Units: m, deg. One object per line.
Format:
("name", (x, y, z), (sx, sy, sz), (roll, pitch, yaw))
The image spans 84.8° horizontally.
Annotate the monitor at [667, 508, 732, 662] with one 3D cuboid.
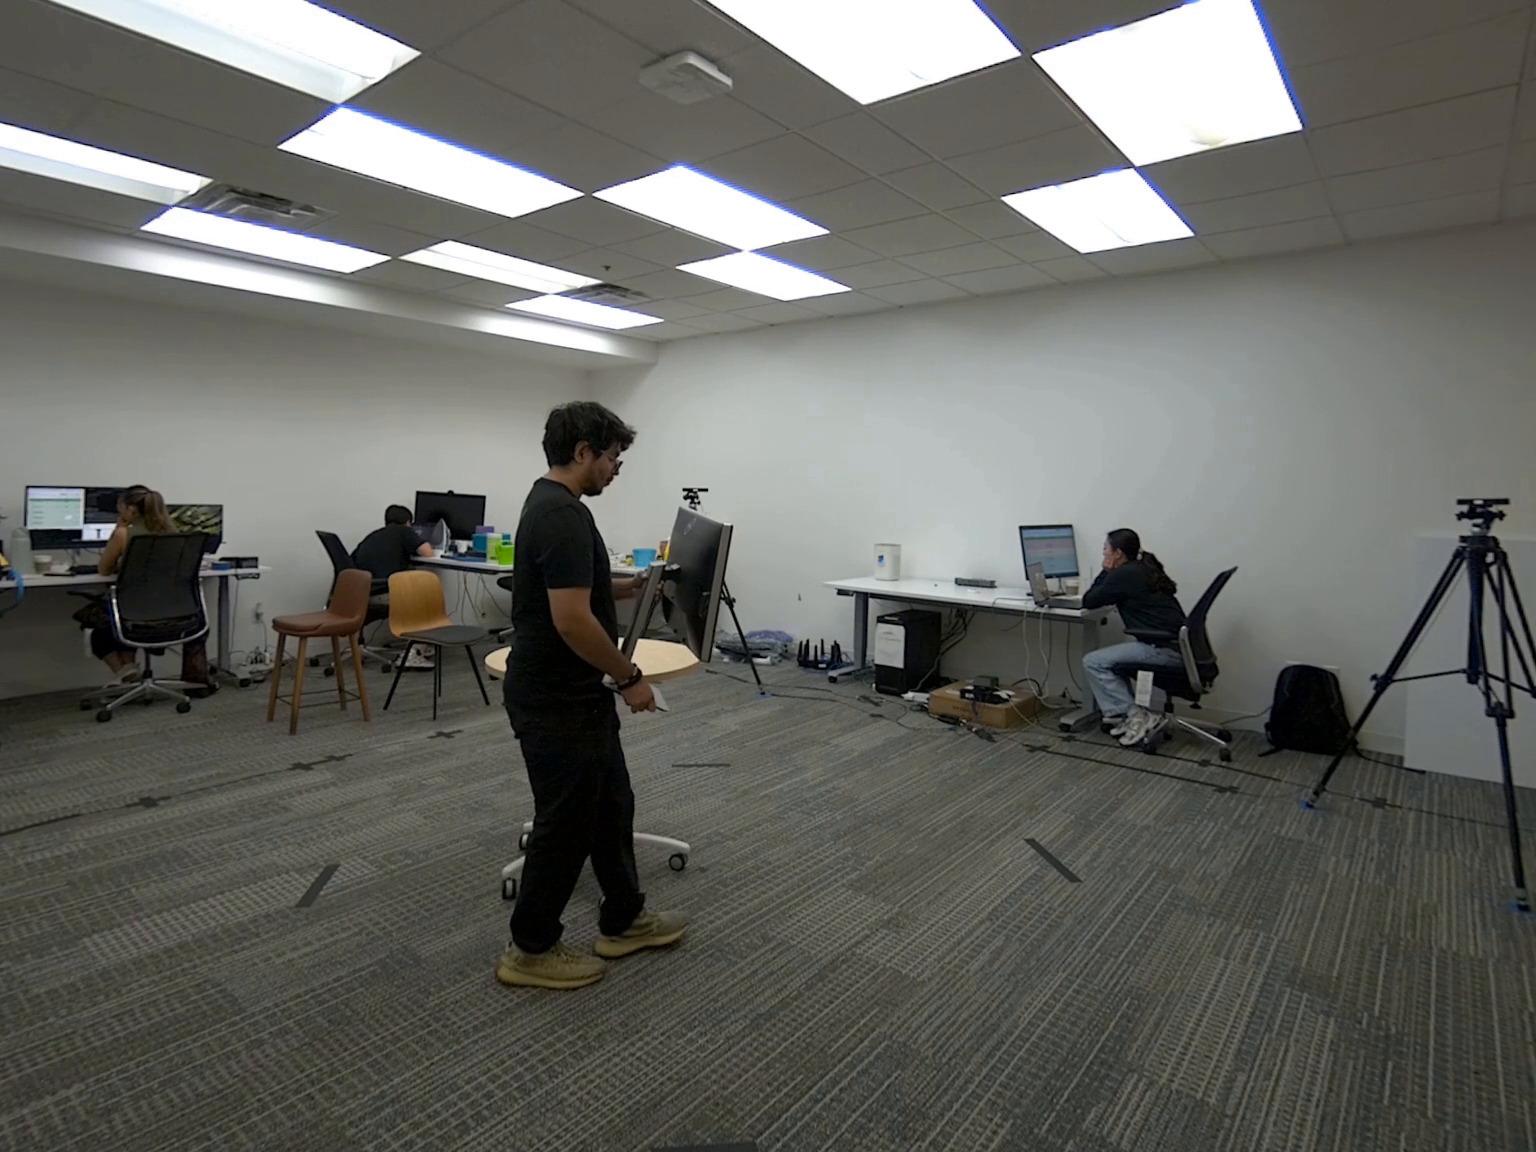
("monitor", (-0.311, 0.072, 2.427), (0.205, 0.553, 0.578), (17, 3, -19))
